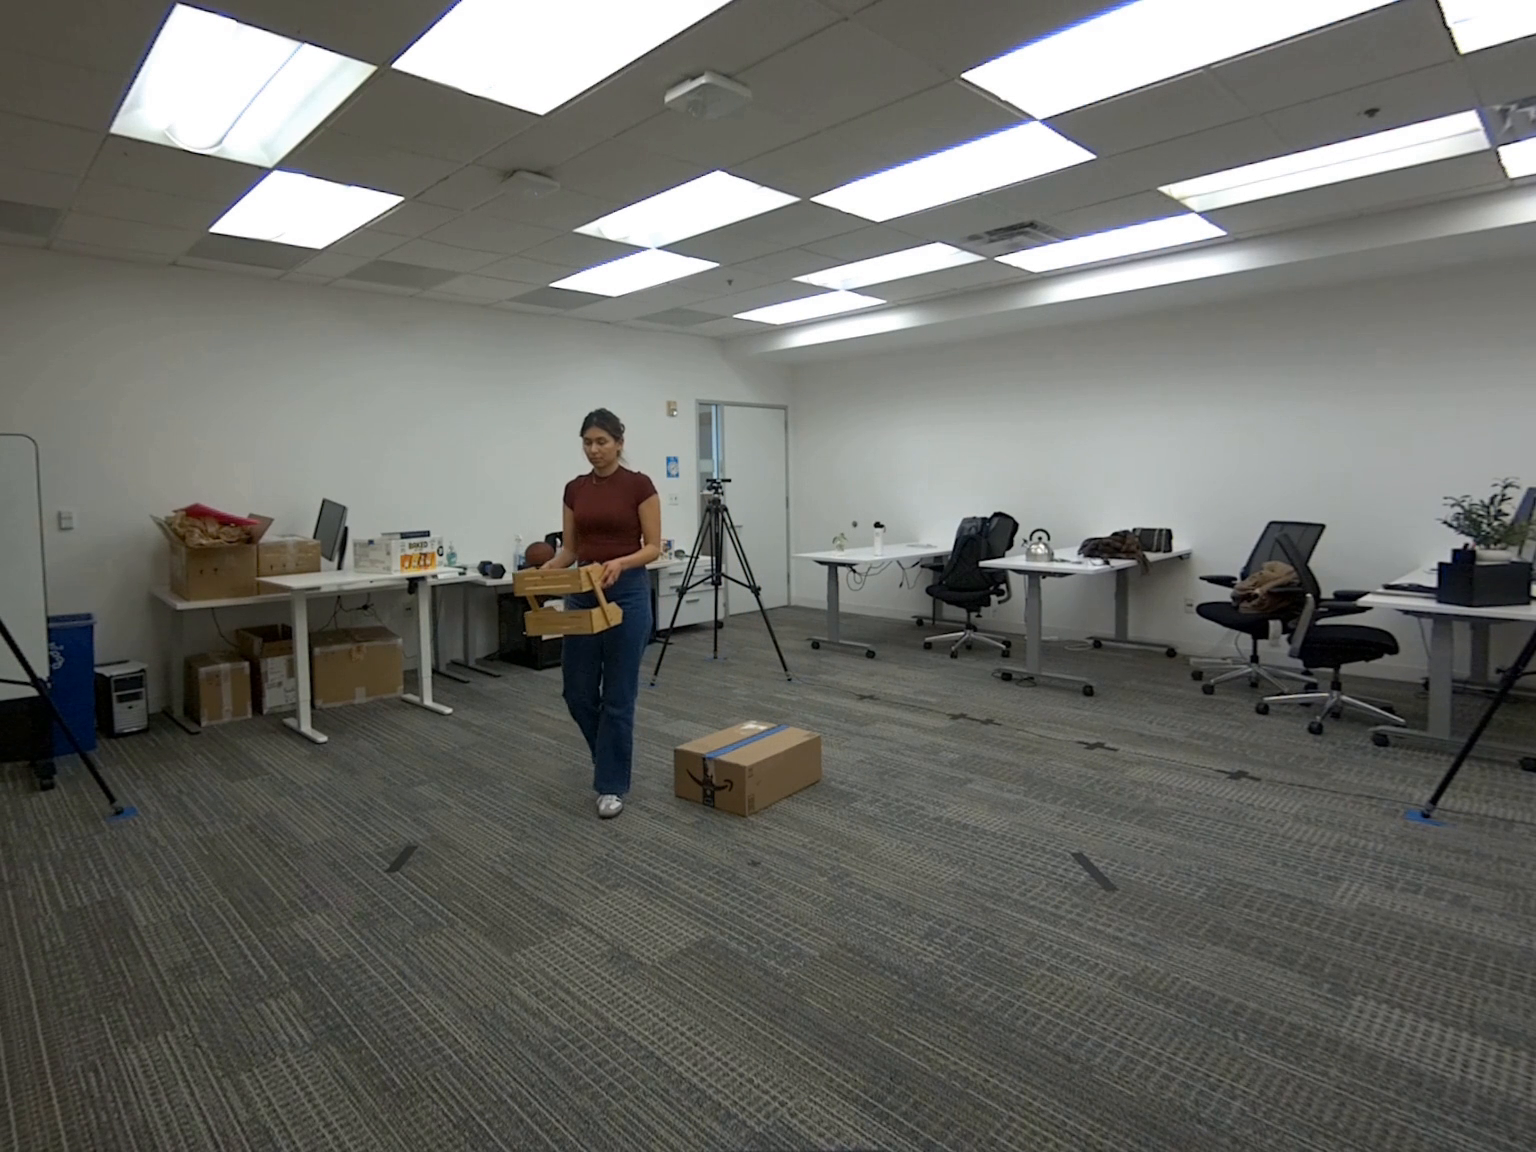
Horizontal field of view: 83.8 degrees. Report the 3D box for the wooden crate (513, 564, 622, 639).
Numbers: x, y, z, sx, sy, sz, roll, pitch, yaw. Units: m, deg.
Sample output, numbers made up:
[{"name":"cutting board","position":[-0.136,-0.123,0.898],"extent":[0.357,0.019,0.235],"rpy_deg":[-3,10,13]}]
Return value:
[{"name":"wooden crate","position":[-0.801,0.085,3.406],"extent":[0.330,0.272,0.298],"rpy_deg":[-5,6,19]}]
